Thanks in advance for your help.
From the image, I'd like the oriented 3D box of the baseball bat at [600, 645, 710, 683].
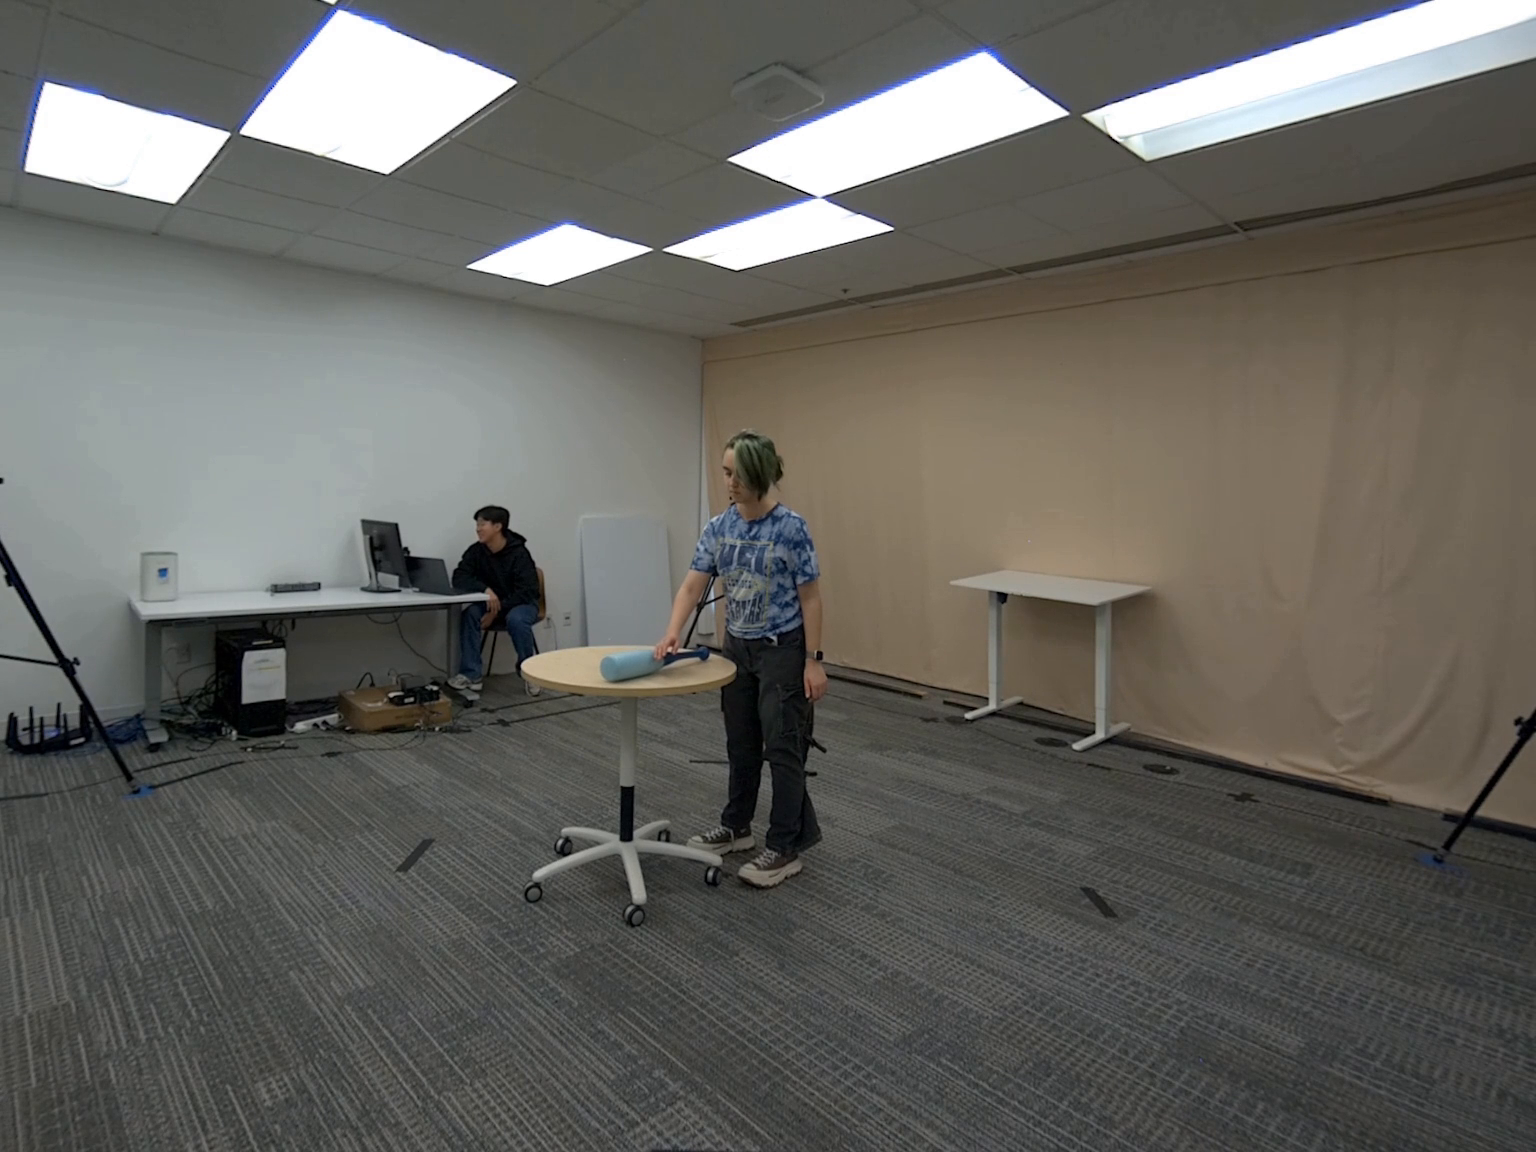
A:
[{"bbox_3d":[-0.390,0.298,2.931,0.091,0.089,0.531,4,2,30],"label":"baseball bat"}]
